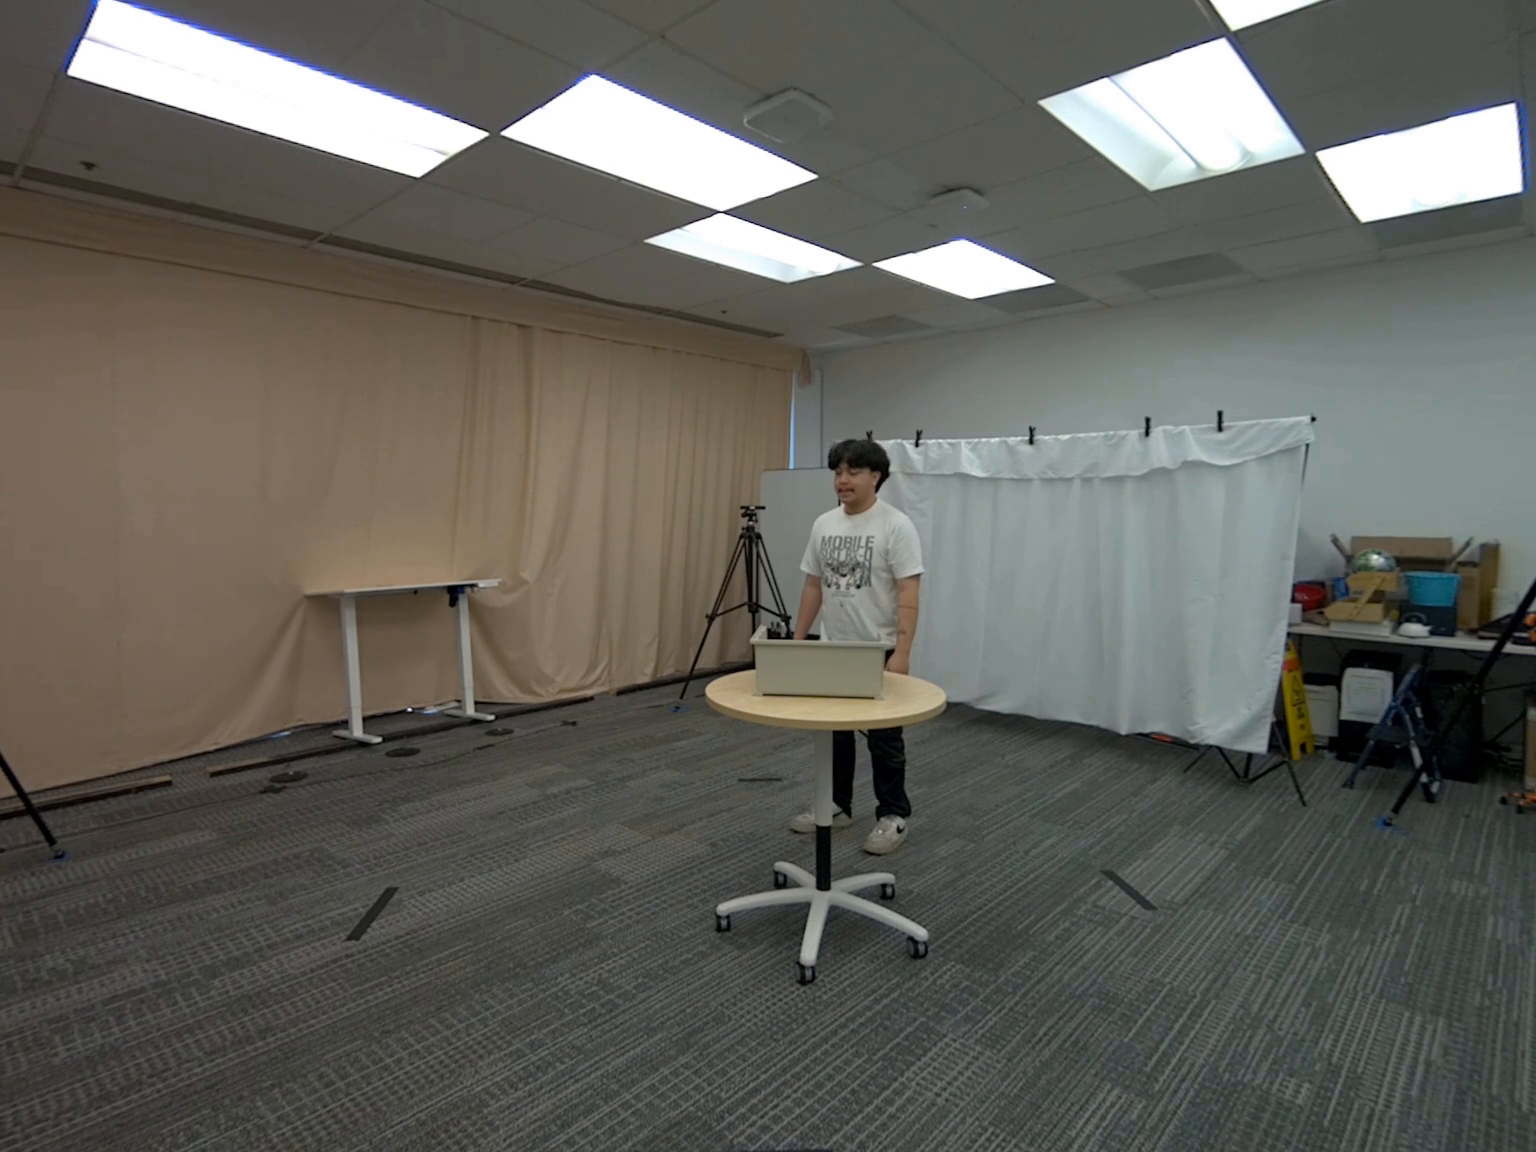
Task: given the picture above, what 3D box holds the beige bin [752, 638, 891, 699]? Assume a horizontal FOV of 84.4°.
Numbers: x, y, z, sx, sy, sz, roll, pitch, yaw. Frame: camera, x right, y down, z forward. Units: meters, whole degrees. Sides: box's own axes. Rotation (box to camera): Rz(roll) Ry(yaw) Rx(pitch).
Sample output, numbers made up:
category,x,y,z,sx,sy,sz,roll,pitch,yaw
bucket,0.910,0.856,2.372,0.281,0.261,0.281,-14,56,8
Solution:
category,x,y,z,sx,sy,sz,roll,pitch,yaw
beige bin,0.172,0.269,2.786,0.426,0.188,0.376,-1,6,6
